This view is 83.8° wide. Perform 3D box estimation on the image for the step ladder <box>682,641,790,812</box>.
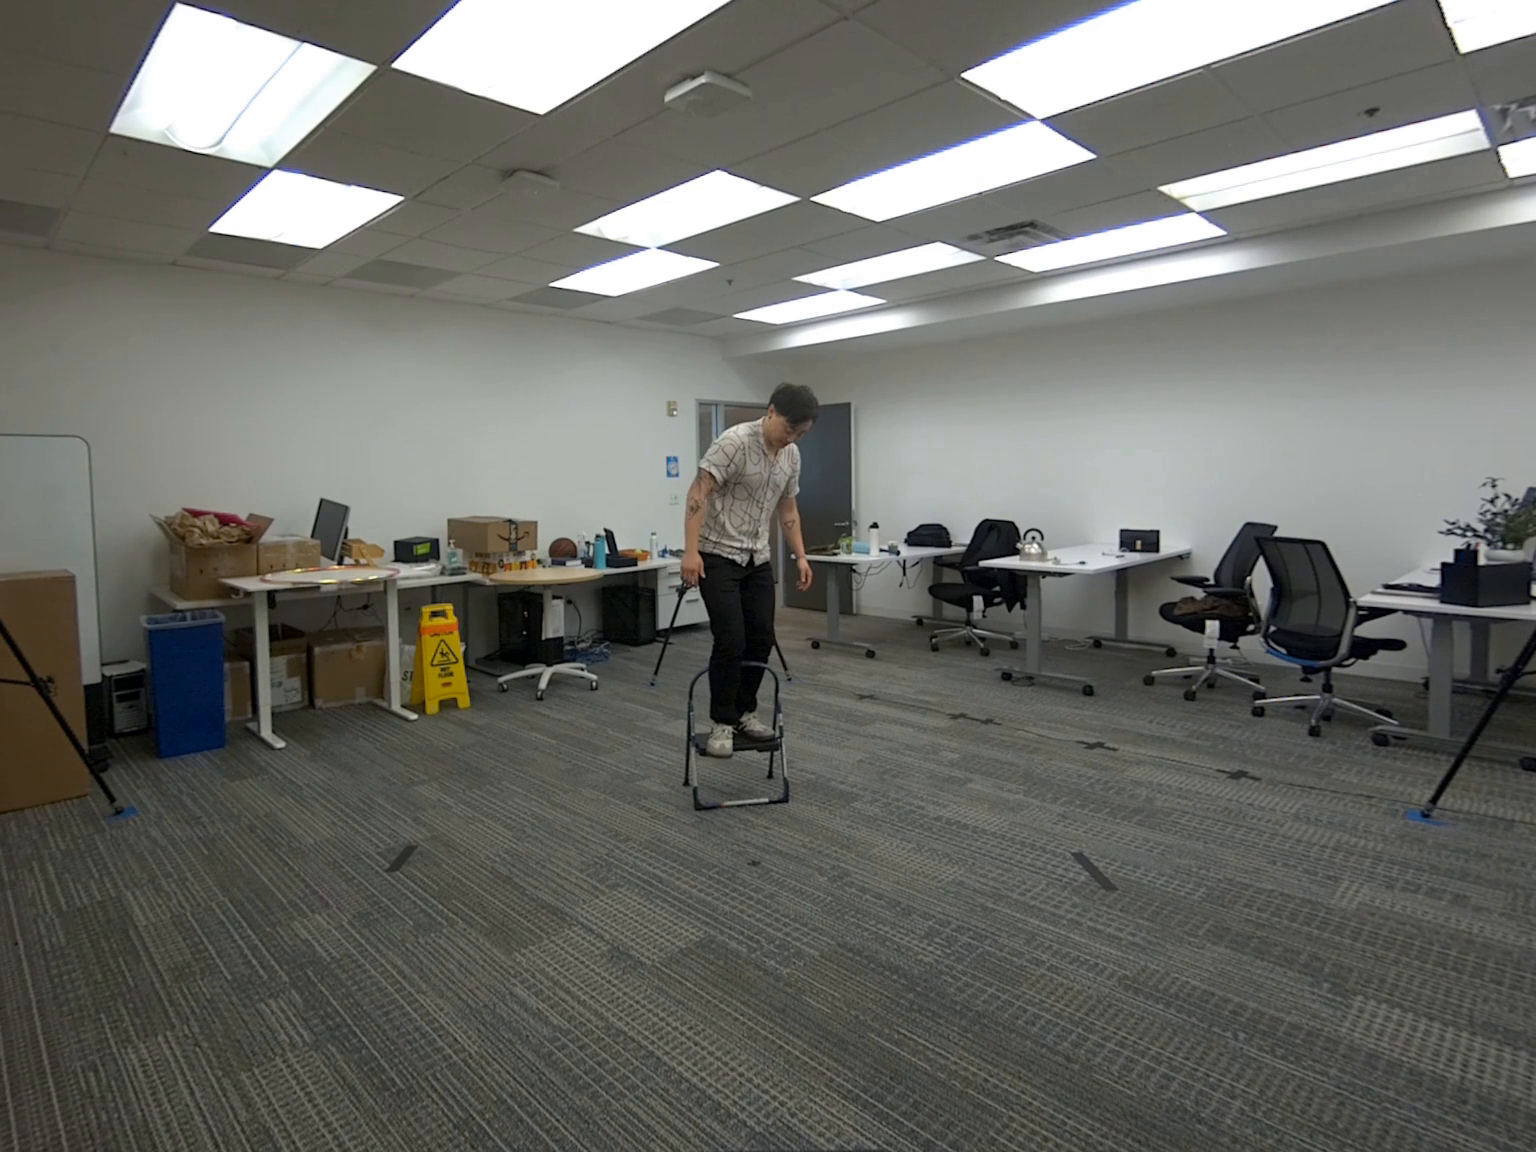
[{"bbox_3d":[-0.155,0.672,3.798,0.426,0.604,0.354,-2,4,-12],"label":"step ladder"}]
